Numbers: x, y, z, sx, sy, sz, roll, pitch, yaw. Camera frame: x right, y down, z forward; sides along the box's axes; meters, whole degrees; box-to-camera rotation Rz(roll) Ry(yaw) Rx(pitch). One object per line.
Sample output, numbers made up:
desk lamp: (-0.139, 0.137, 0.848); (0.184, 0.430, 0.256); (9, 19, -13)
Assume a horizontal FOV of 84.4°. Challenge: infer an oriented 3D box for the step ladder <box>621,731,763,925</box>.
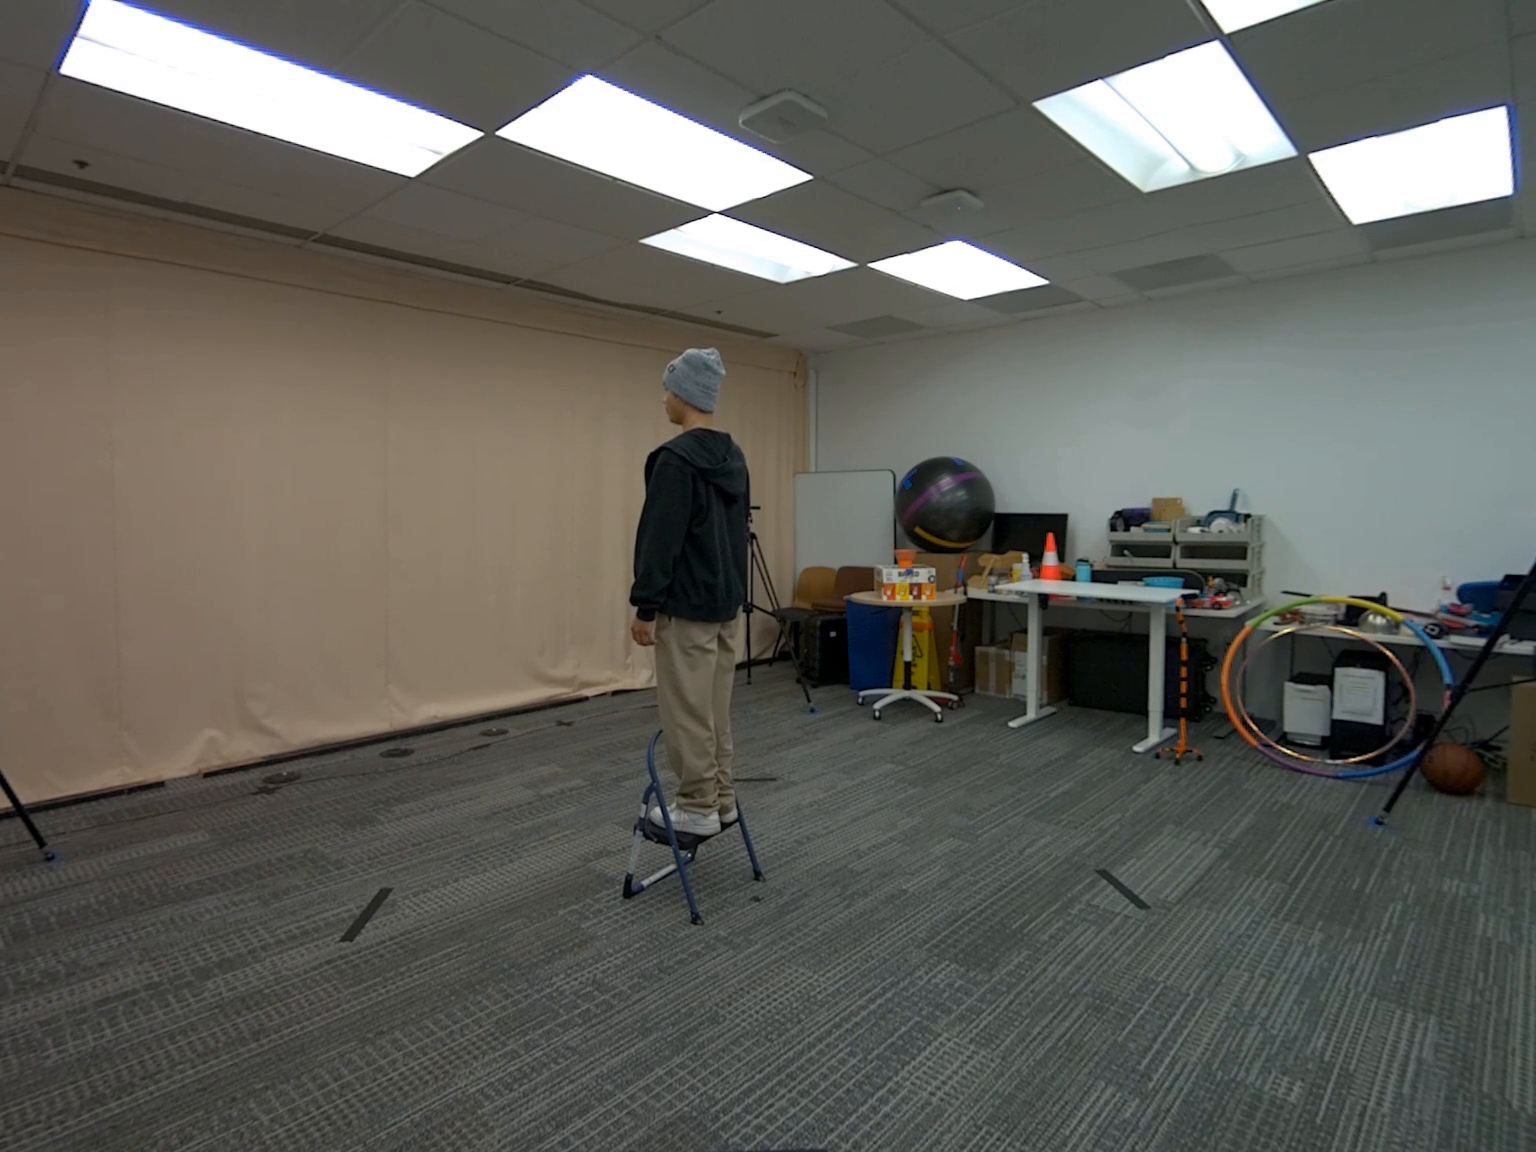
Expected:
step ladder: (-0.268, 0.838, 3.056); (0.360, 0.605, 0.419); (1, 3, 32)
